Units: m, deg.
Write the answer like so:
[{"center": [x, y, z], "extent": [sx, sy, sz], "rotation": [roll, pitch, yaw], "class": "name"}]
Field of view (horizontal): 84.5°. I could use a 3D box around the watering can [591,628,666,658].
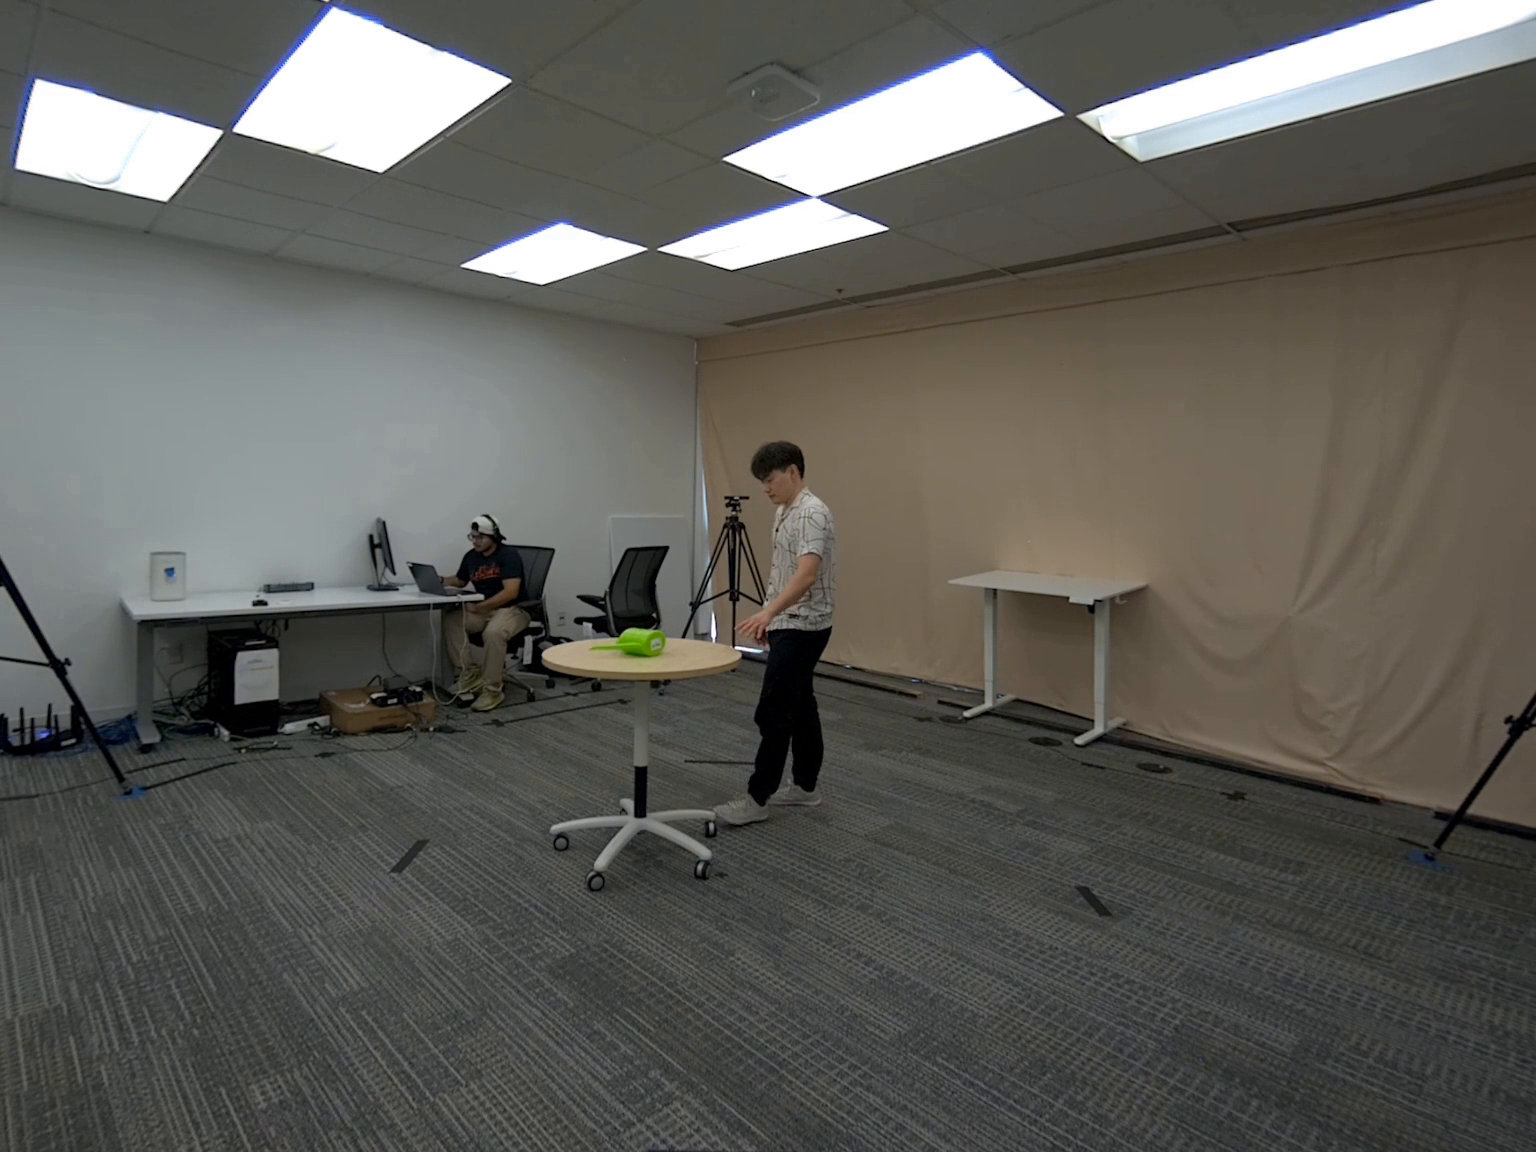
[{"center": [-0.529, 0.267, 3.203], "extent": [0.181, 0.096, 0.276], "rotation": [3, 22, 33], "class": "watering can"}]
